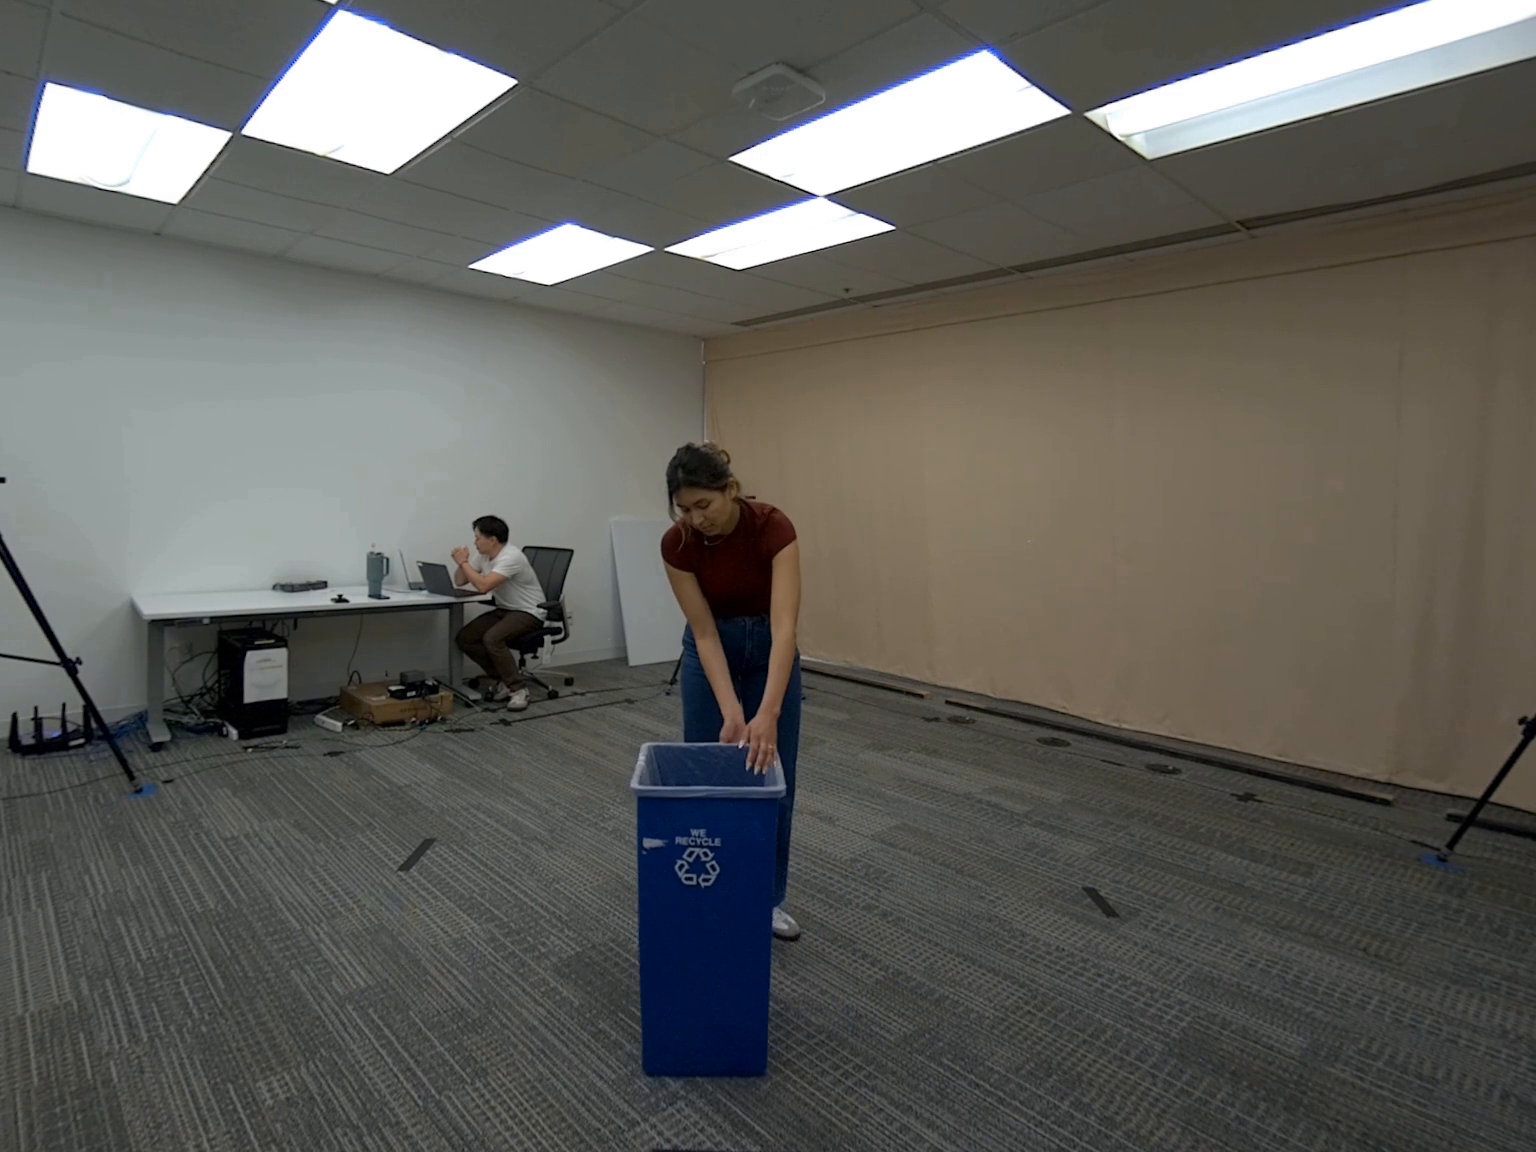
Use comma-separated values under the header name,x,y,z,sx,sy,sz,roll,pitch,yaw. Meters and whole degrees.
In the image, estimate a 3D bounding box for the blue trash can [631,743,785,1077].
name,x,y,z,sx,sy,sz,roll,pitch,yaw
blue trash can,-0.151,0.832,2.147,0.373,0.712,0.380,0,3,-4
